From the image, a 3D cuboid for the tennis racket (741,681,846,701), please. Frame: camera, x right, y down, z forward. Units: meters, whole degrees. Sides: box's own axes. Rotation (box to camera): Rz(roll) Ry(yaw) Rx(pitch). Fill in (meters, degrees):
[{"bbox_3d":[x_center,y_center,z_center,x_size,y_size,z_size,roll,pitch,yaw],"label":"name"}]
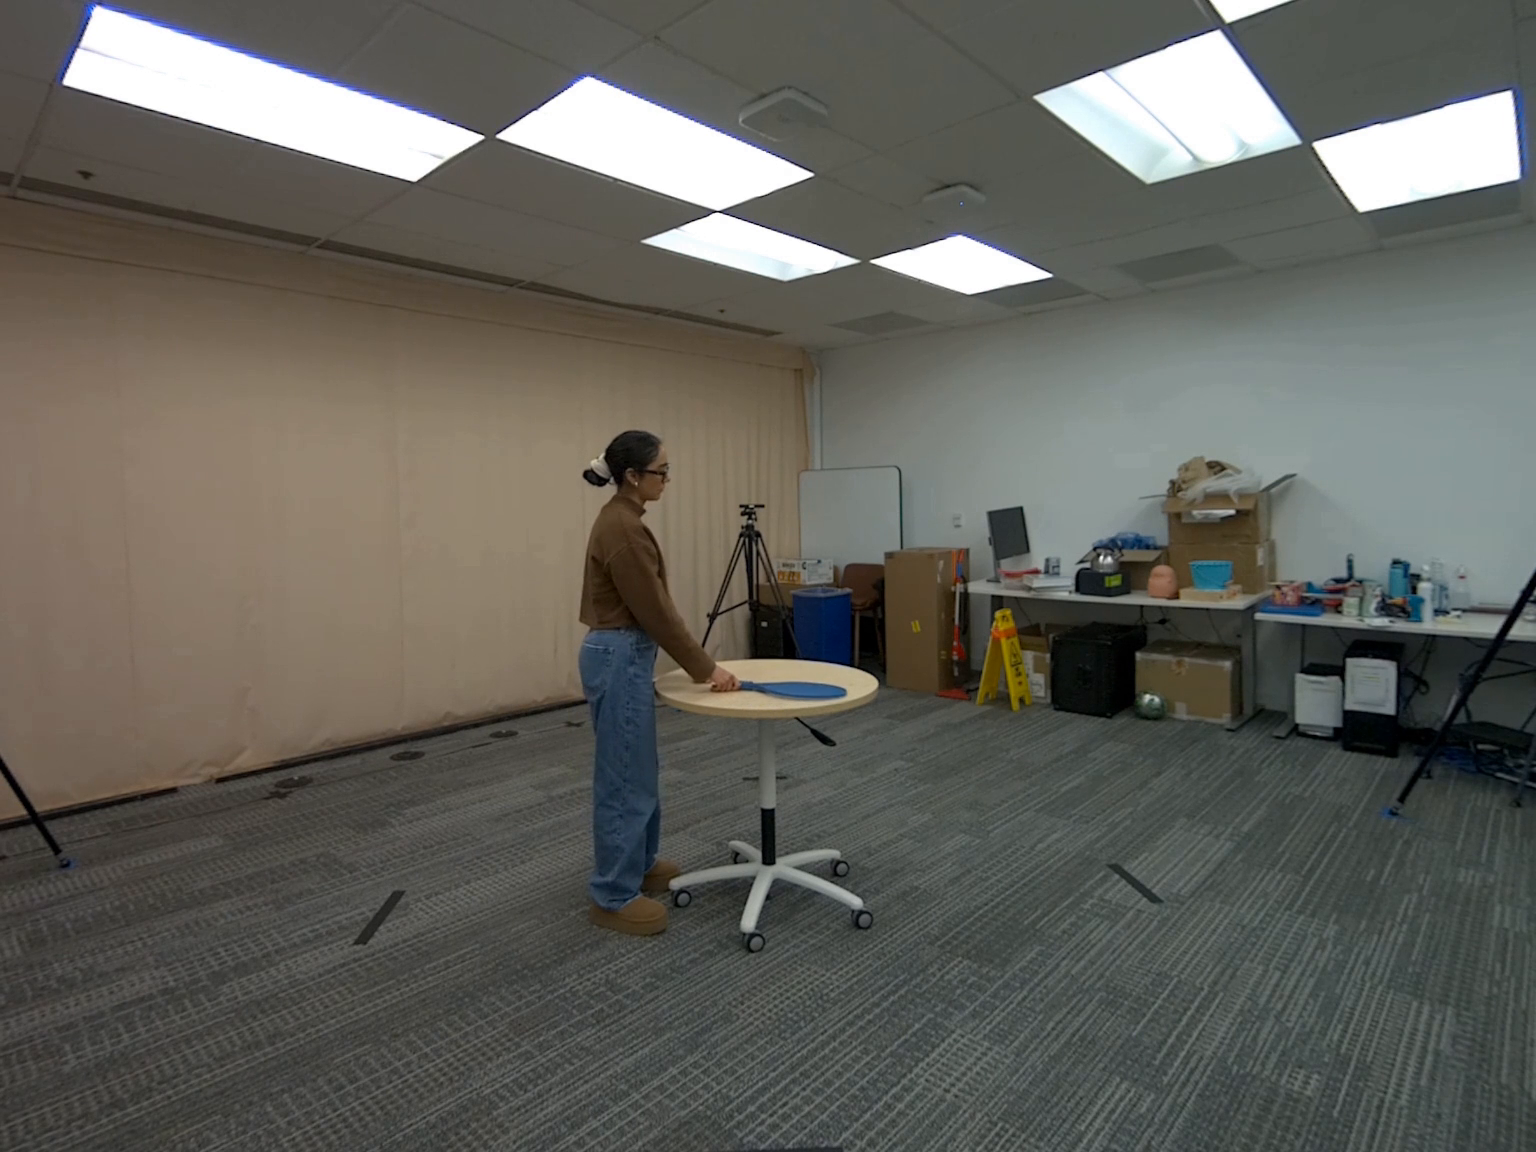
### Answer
[{"bbox_3d":[0.045,0.375,2.724,0.441,0.032,0.210,2,3,18],"label":"tennis racket"}]
